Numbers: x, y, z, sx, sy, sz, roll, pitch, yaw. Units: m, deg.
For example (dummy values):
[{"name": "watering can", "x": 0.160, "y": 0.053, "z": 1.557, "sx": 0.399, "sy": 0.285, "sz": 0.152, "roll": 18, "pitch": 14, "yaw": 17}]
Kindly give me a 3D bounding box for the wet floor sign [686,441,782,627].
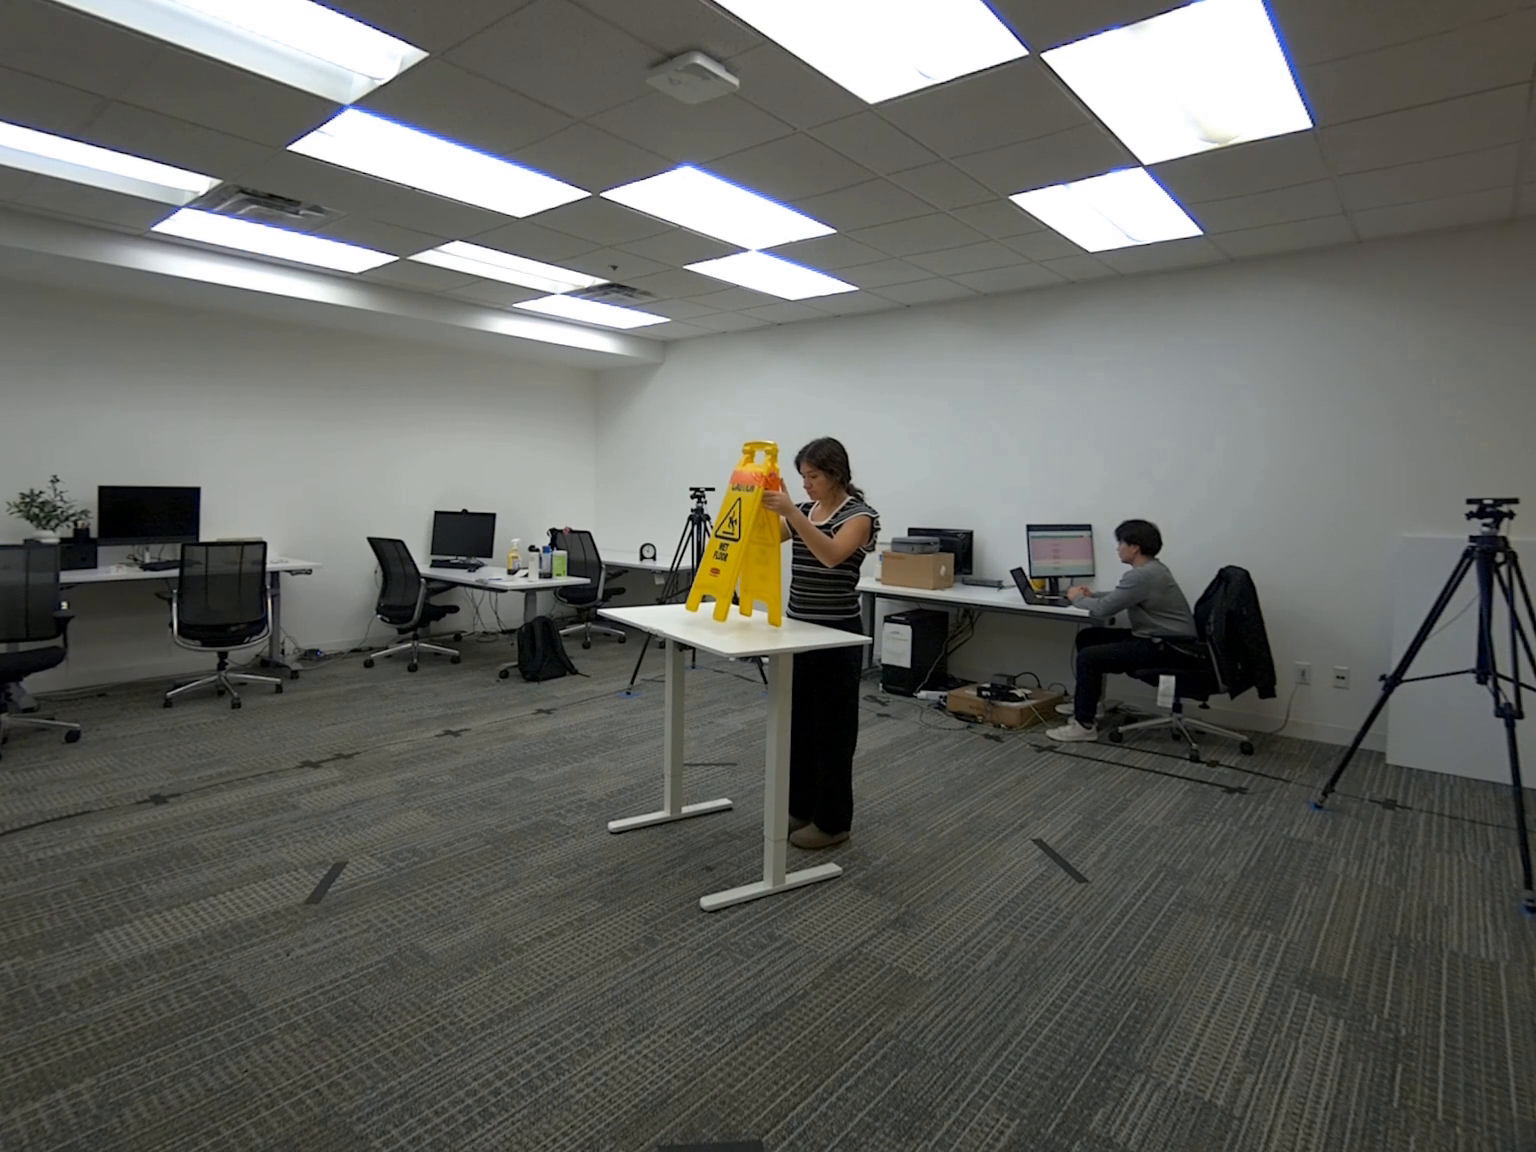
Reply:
[{"name": "wet floor sign", "x": -0.087, "y": -0.168, "z": 3.088, "sx": 0.281, "sy": 0.645, "sz": 0.291, "roll": 7, "pitch": 2, "yaw": -30}]
